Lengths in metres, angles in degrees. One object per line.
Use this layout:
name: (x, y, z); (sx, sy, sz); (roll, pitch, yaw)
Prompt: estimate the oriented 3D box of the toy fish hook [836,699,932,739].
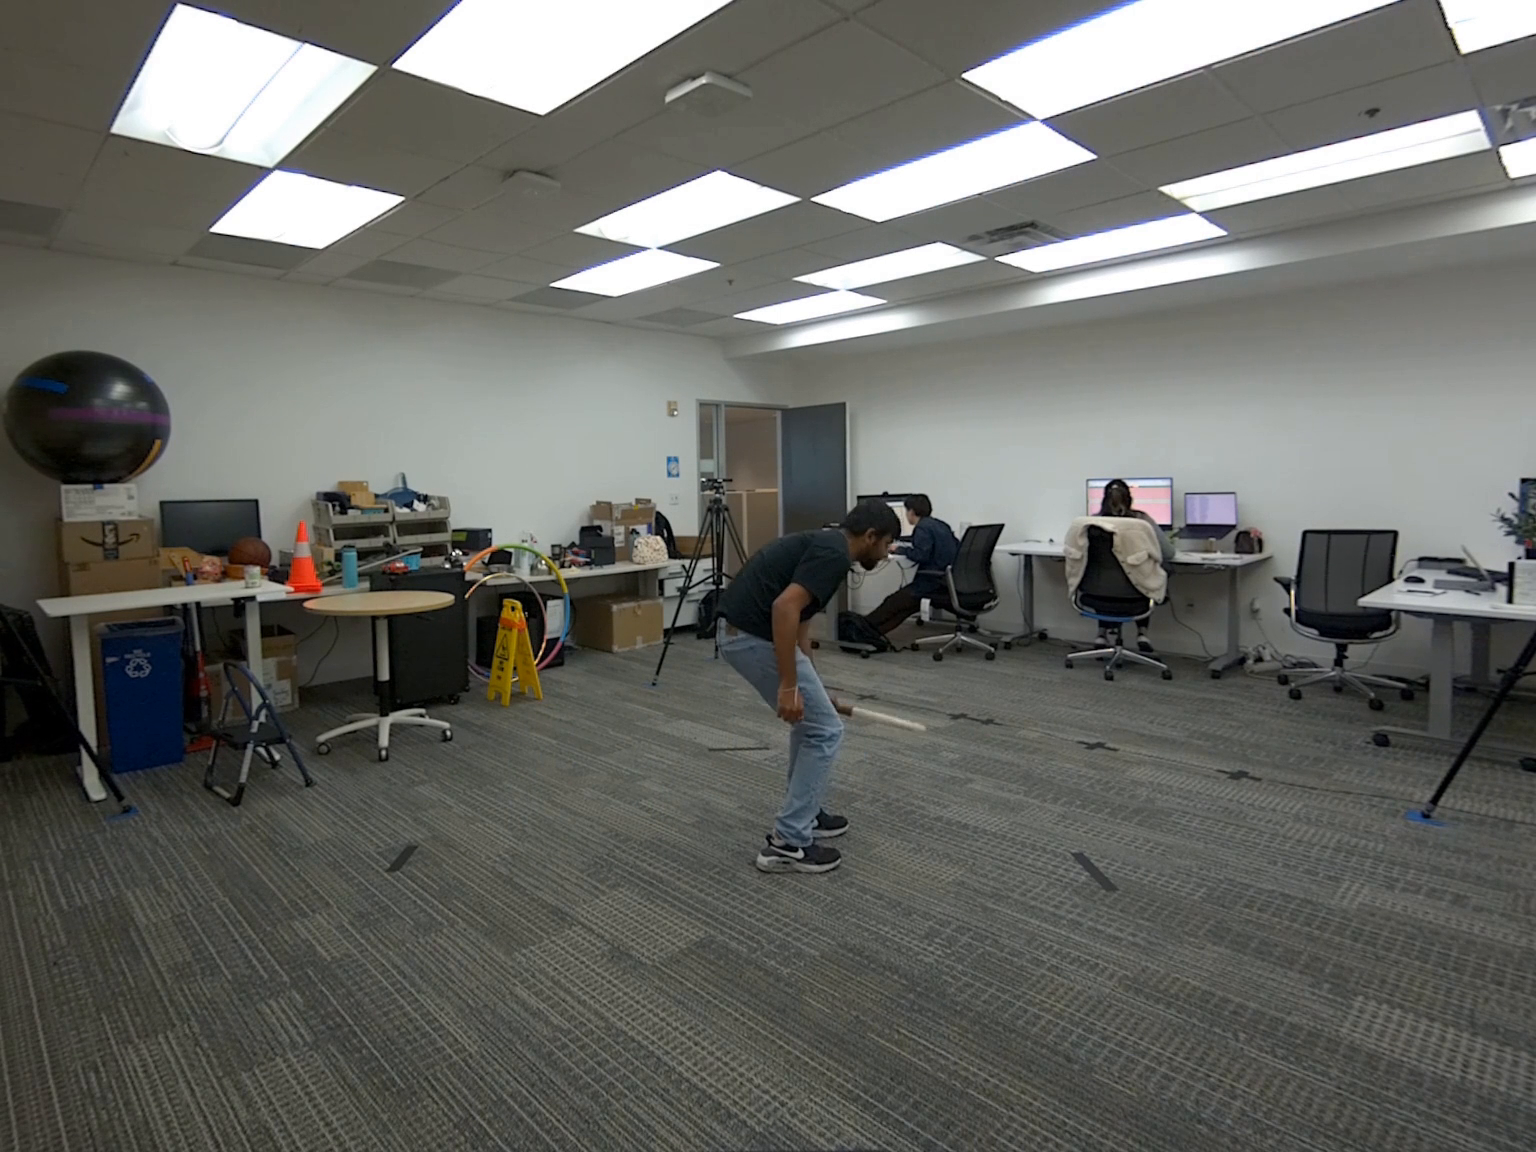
toy fish hook: (0.406, 0.578, 3.559); (0.513, 0.049, 0.220); (12, -13, 11)
